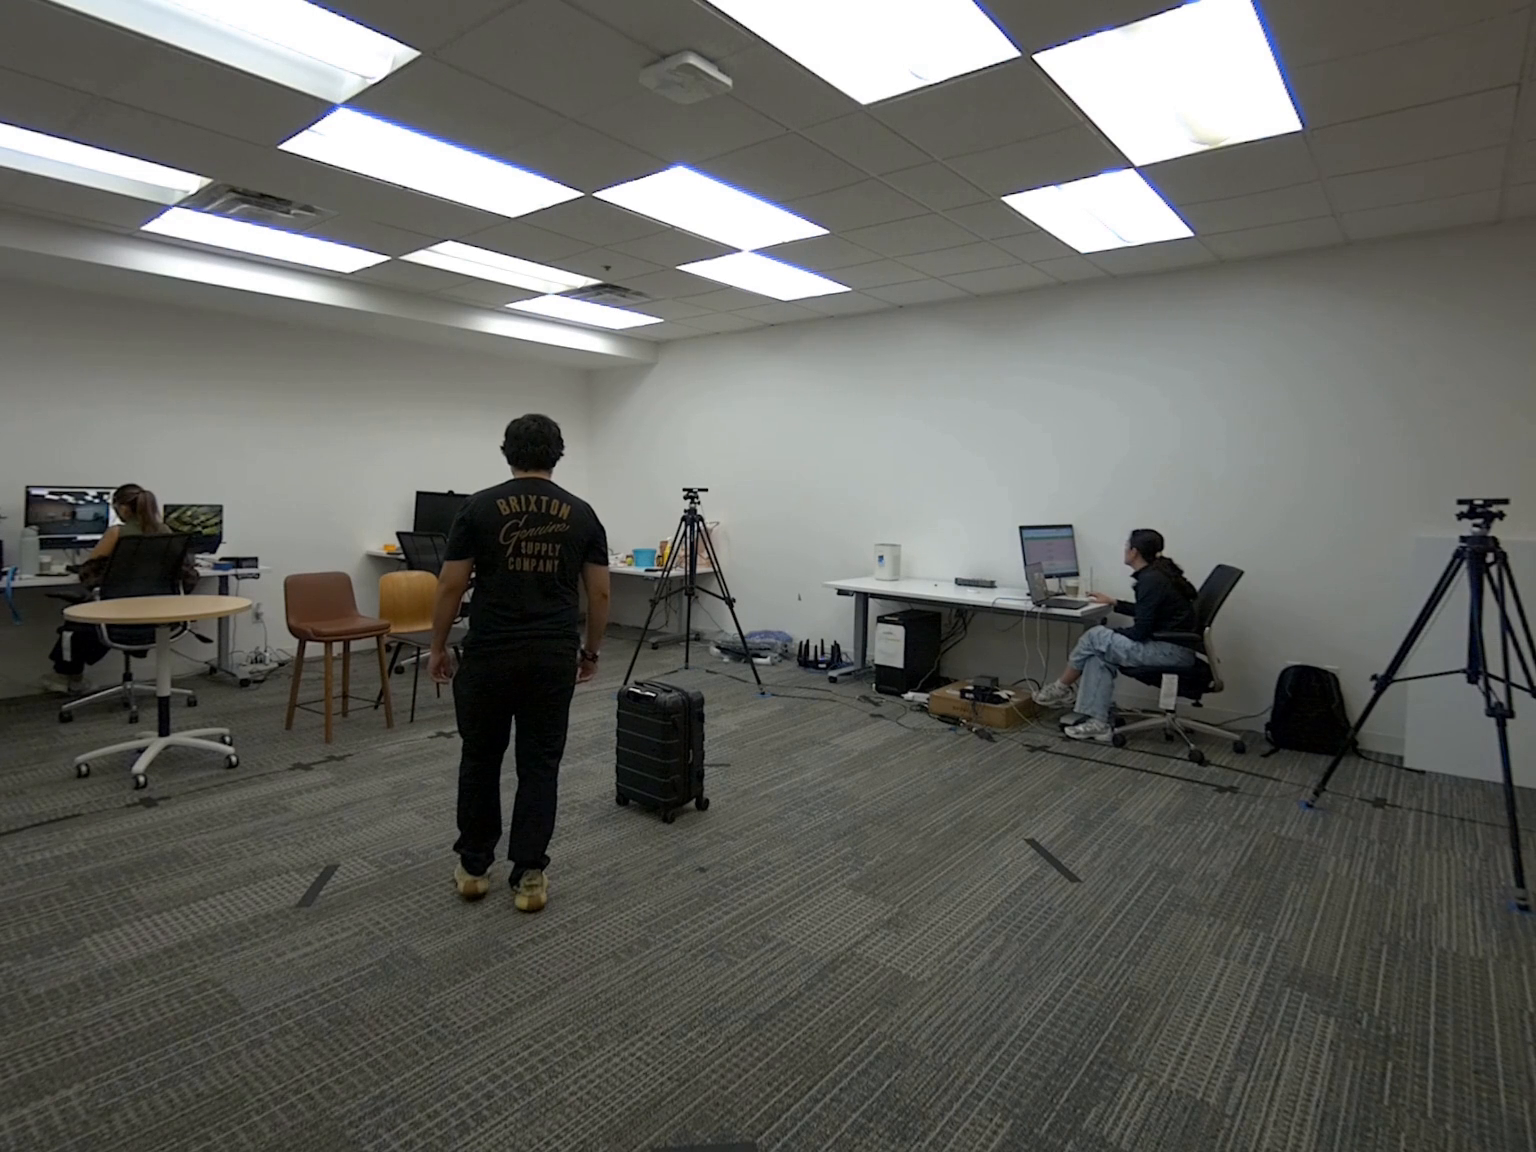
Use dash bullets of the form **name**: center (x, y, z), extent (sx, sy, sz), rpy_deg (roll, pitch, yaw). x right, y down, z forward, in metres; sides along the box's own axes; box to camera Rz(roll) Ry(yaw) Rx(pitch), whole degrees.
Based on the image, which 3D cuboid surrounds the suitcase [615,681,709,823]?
- **suitcase**: center (-0.481, 0.731, 3.698), extent (0.388, 0.547, 0.241), rpy_deg (3, 5, 41)
